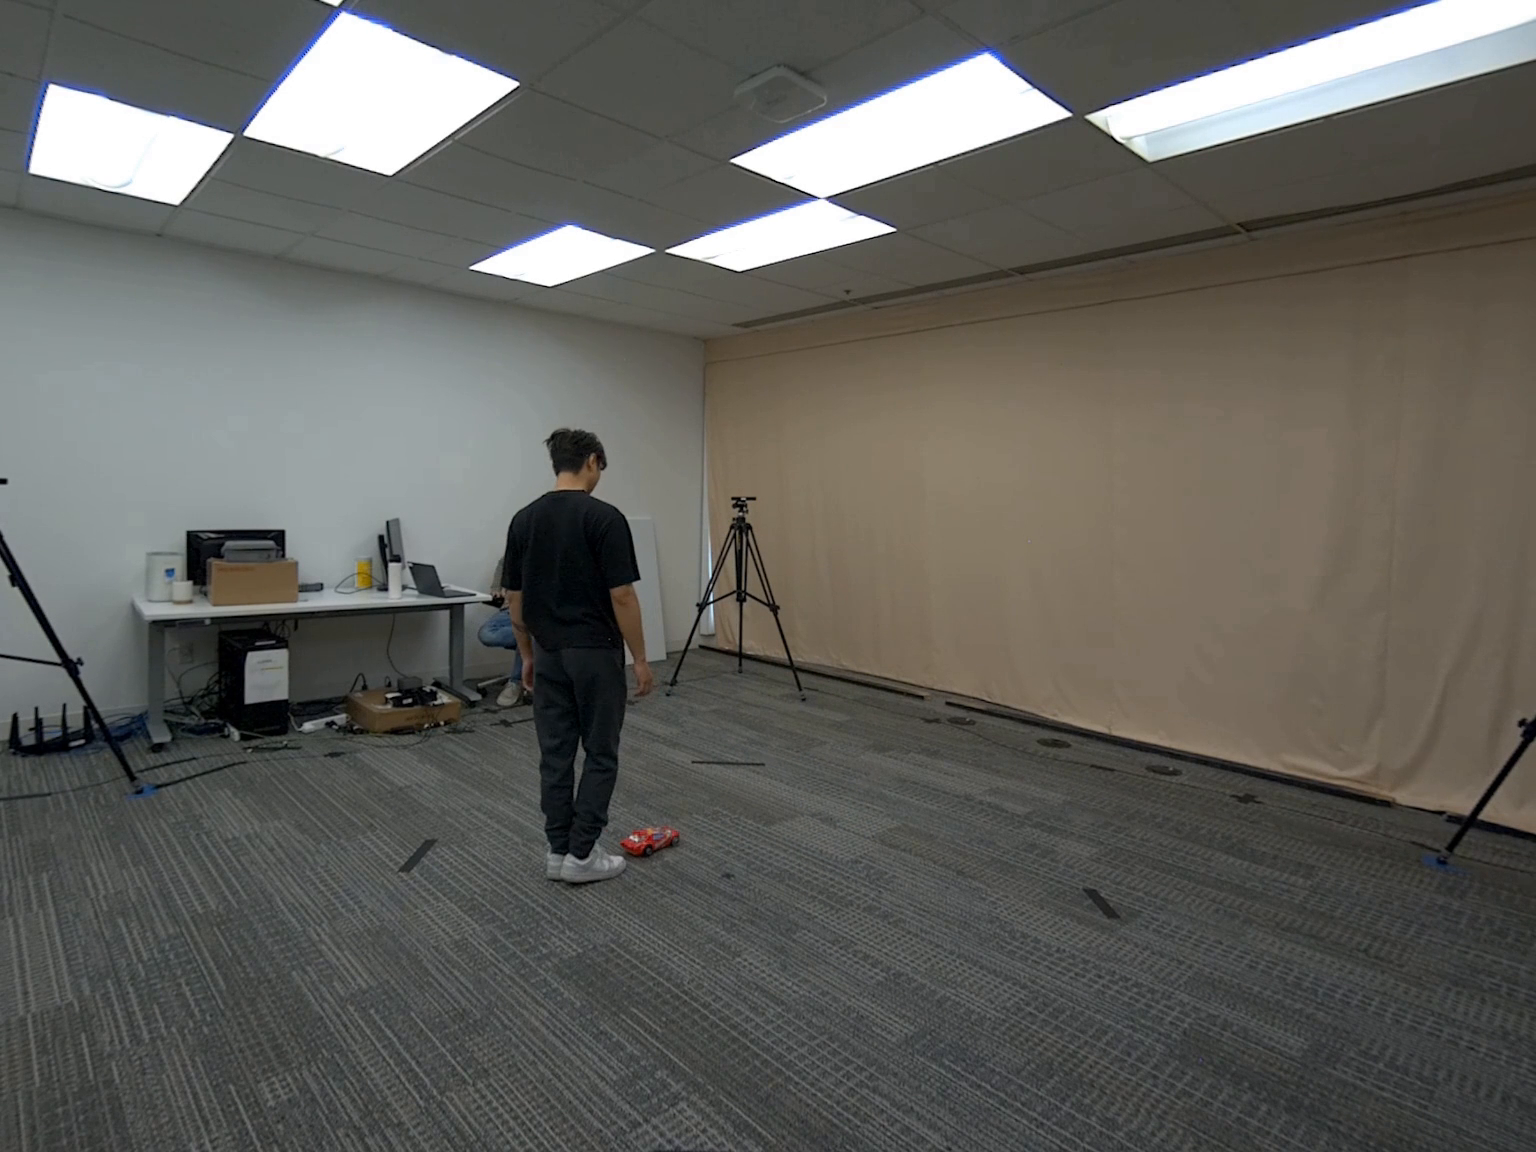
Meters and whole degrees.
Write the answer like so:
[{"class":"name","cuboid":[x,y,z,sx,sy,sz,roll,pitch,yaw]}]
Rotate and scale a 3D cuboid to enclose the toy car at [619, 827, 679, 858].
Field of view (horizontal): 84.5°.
[{"class":"toy car","cuboid":[-0.478,1.048,3.321,0.134,0.083,0.247,6,-4,43]}]
